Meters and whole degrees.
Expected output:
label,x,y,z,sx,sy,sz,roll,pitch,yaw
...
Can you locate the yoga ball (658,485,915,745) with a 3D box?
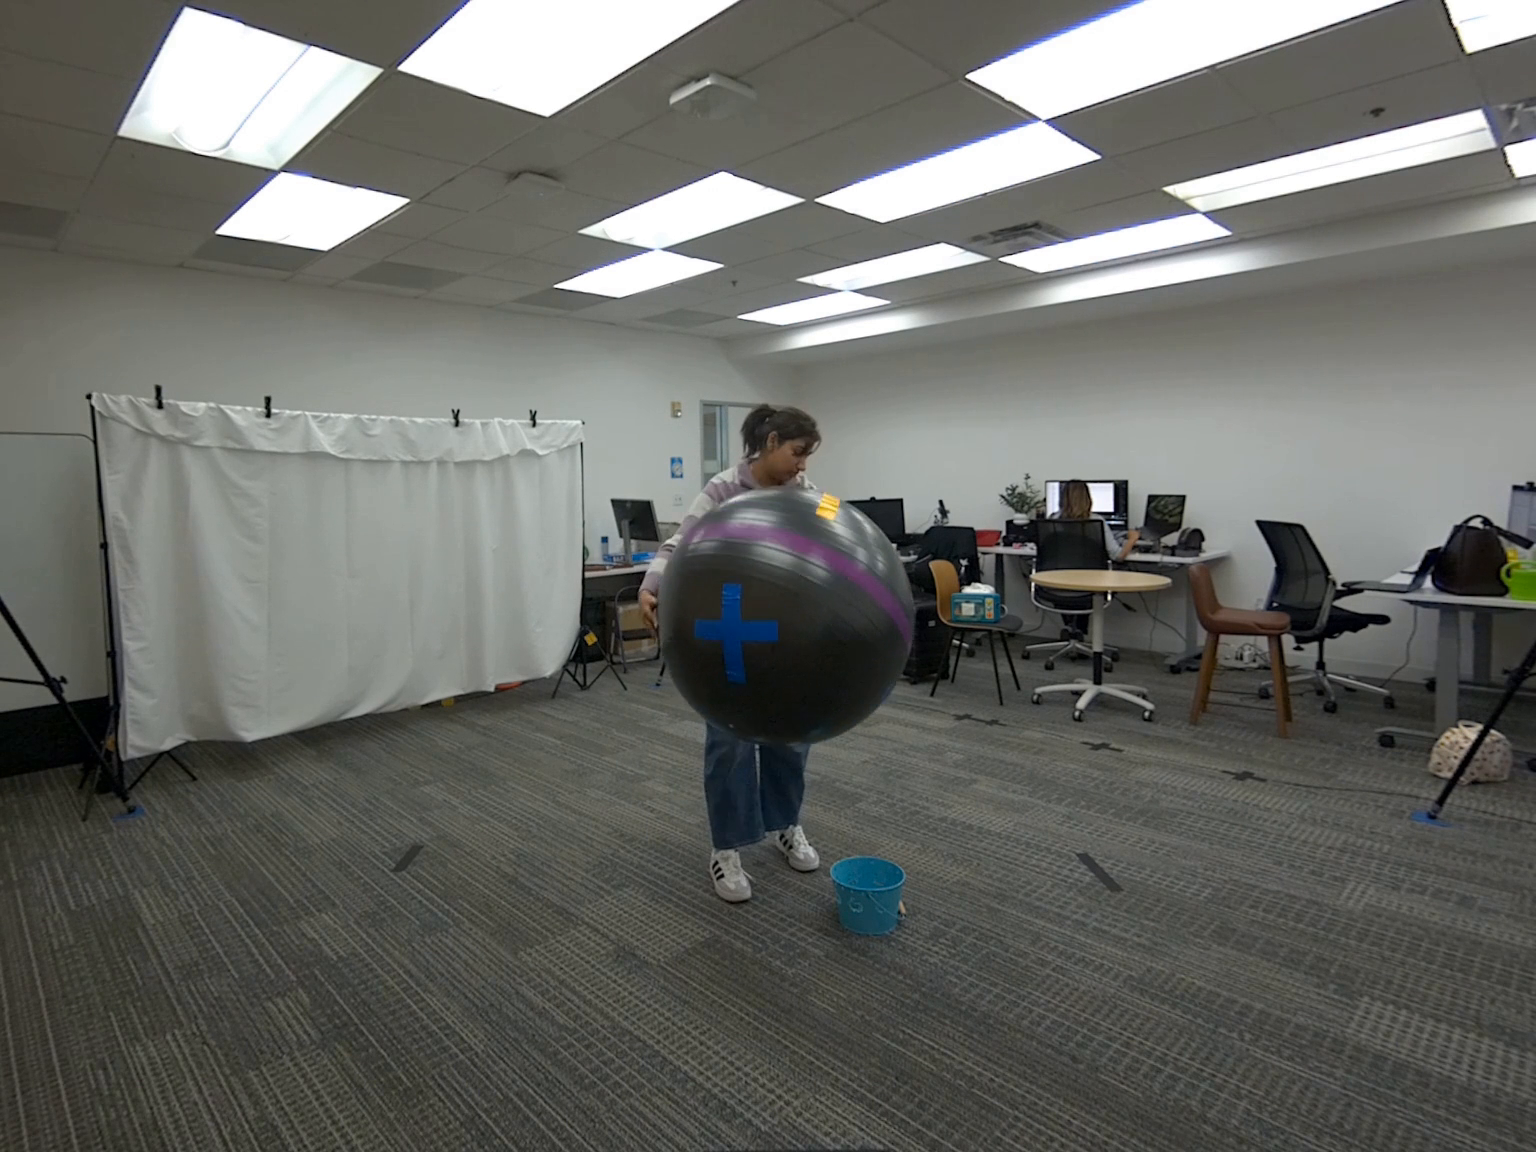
label,x,y,z,sx,sy,sz,roll,pitch,yaw
yoga ball,0.052,0.120,2.519,0.757,0.755,0.762,-1,5,-2
